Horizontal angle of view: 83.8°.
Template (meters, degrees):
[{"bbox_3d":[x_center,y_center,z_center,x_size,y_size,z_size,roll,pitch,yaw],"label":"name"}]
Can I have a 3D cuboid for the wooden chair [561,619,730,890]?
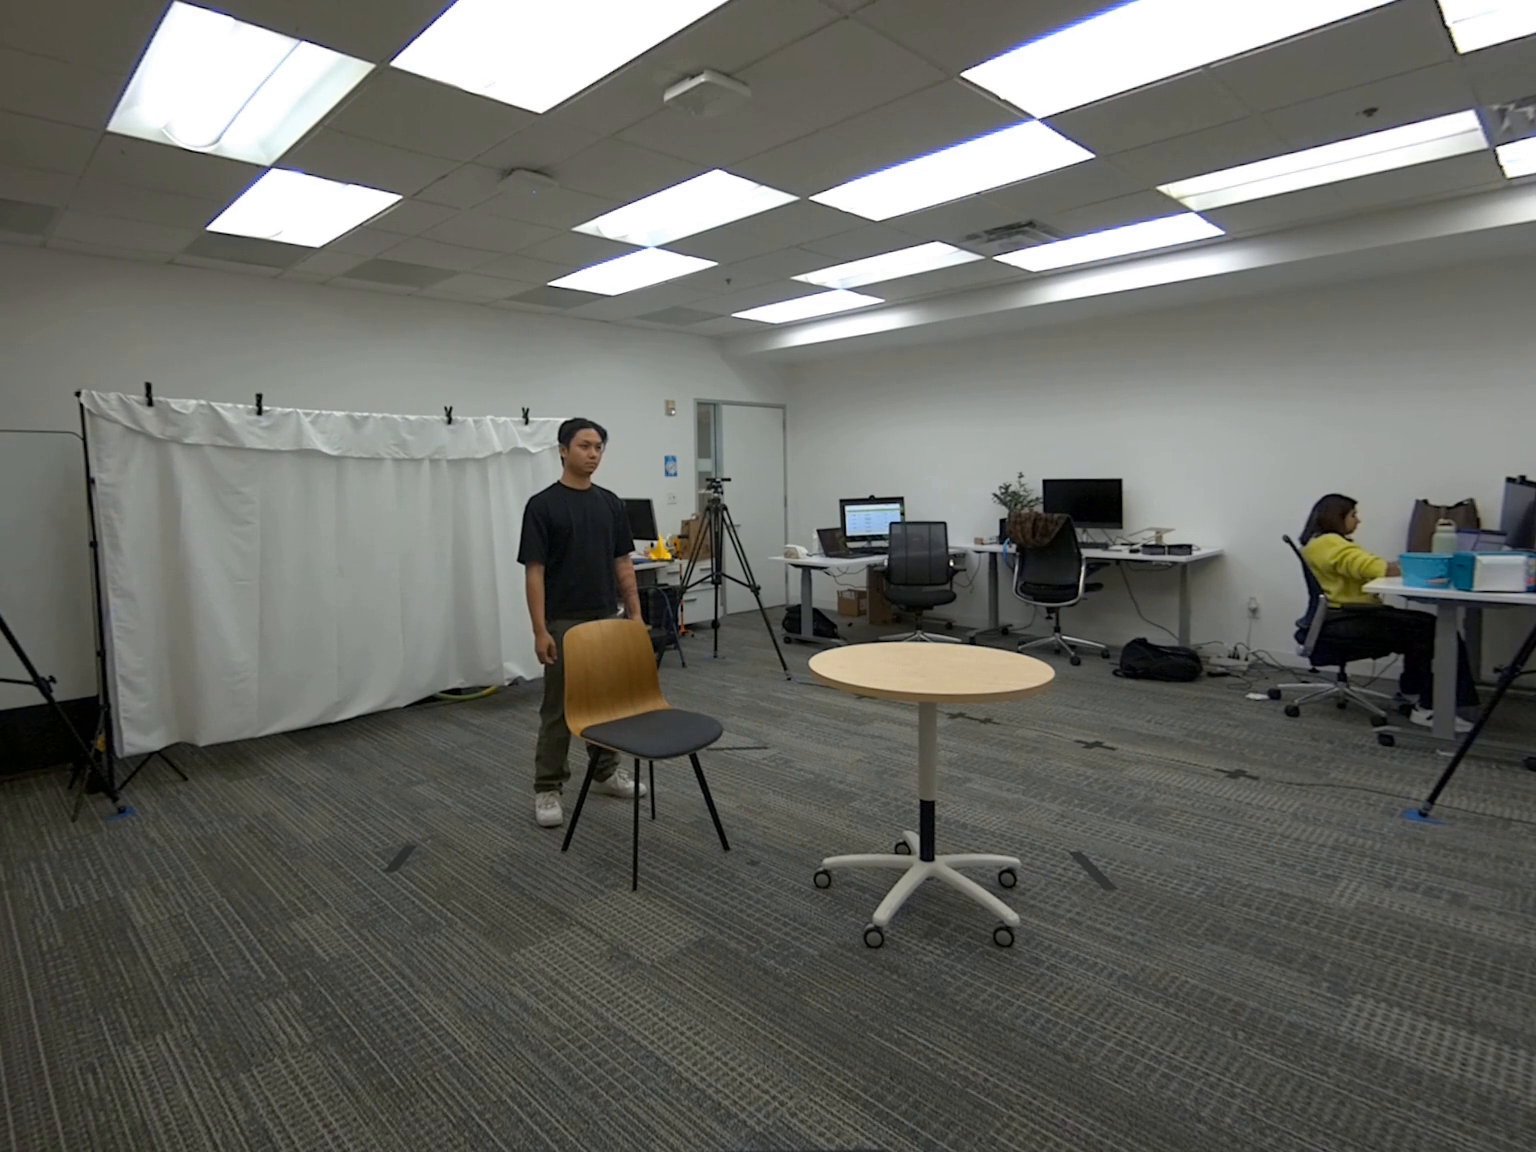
[{"bbox_3d":[-0.457,0.615,3.181,0.538,0.877,0.465,-3,1,45],"label":"wooden chair"}]
